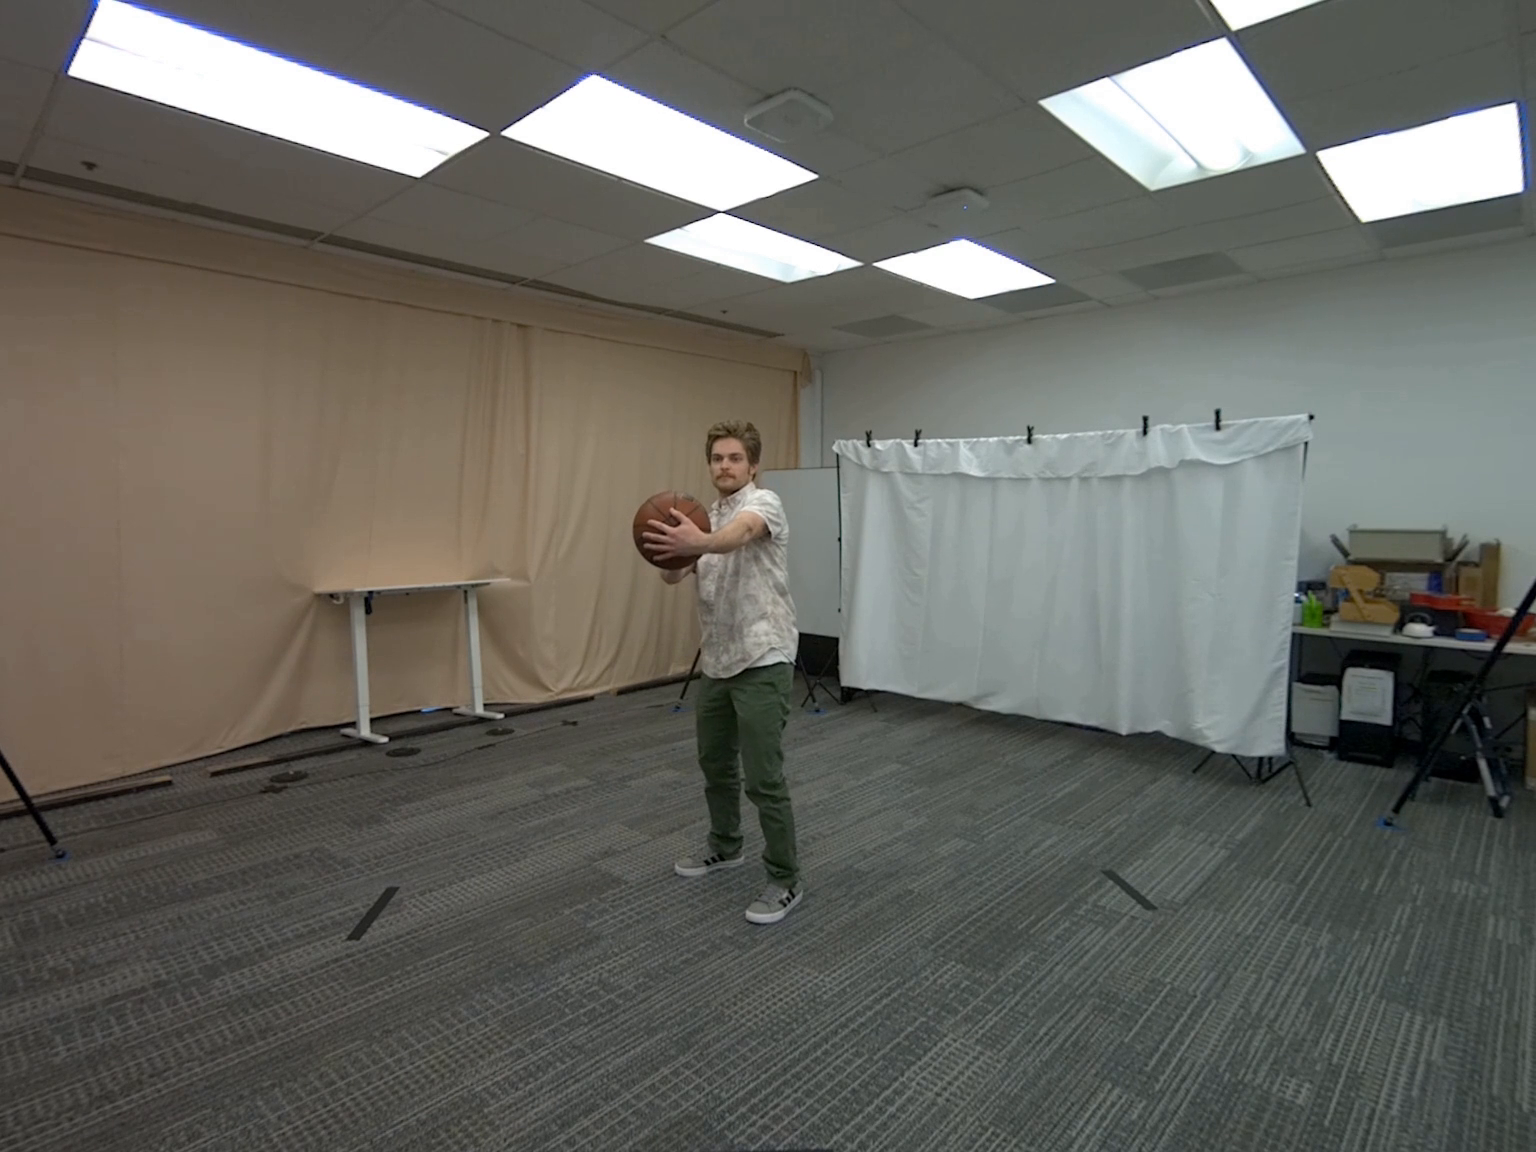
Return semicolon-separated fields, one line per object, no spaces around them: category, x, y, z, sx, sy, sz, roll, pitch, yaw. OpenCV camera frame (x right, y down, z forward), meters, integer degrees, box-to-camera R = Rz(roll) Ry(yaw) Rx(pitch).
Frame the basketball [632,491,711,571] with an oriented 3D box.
basketball;-0.293;-0.140;2.542;0.236;0.235;0.237;0;4;-2
